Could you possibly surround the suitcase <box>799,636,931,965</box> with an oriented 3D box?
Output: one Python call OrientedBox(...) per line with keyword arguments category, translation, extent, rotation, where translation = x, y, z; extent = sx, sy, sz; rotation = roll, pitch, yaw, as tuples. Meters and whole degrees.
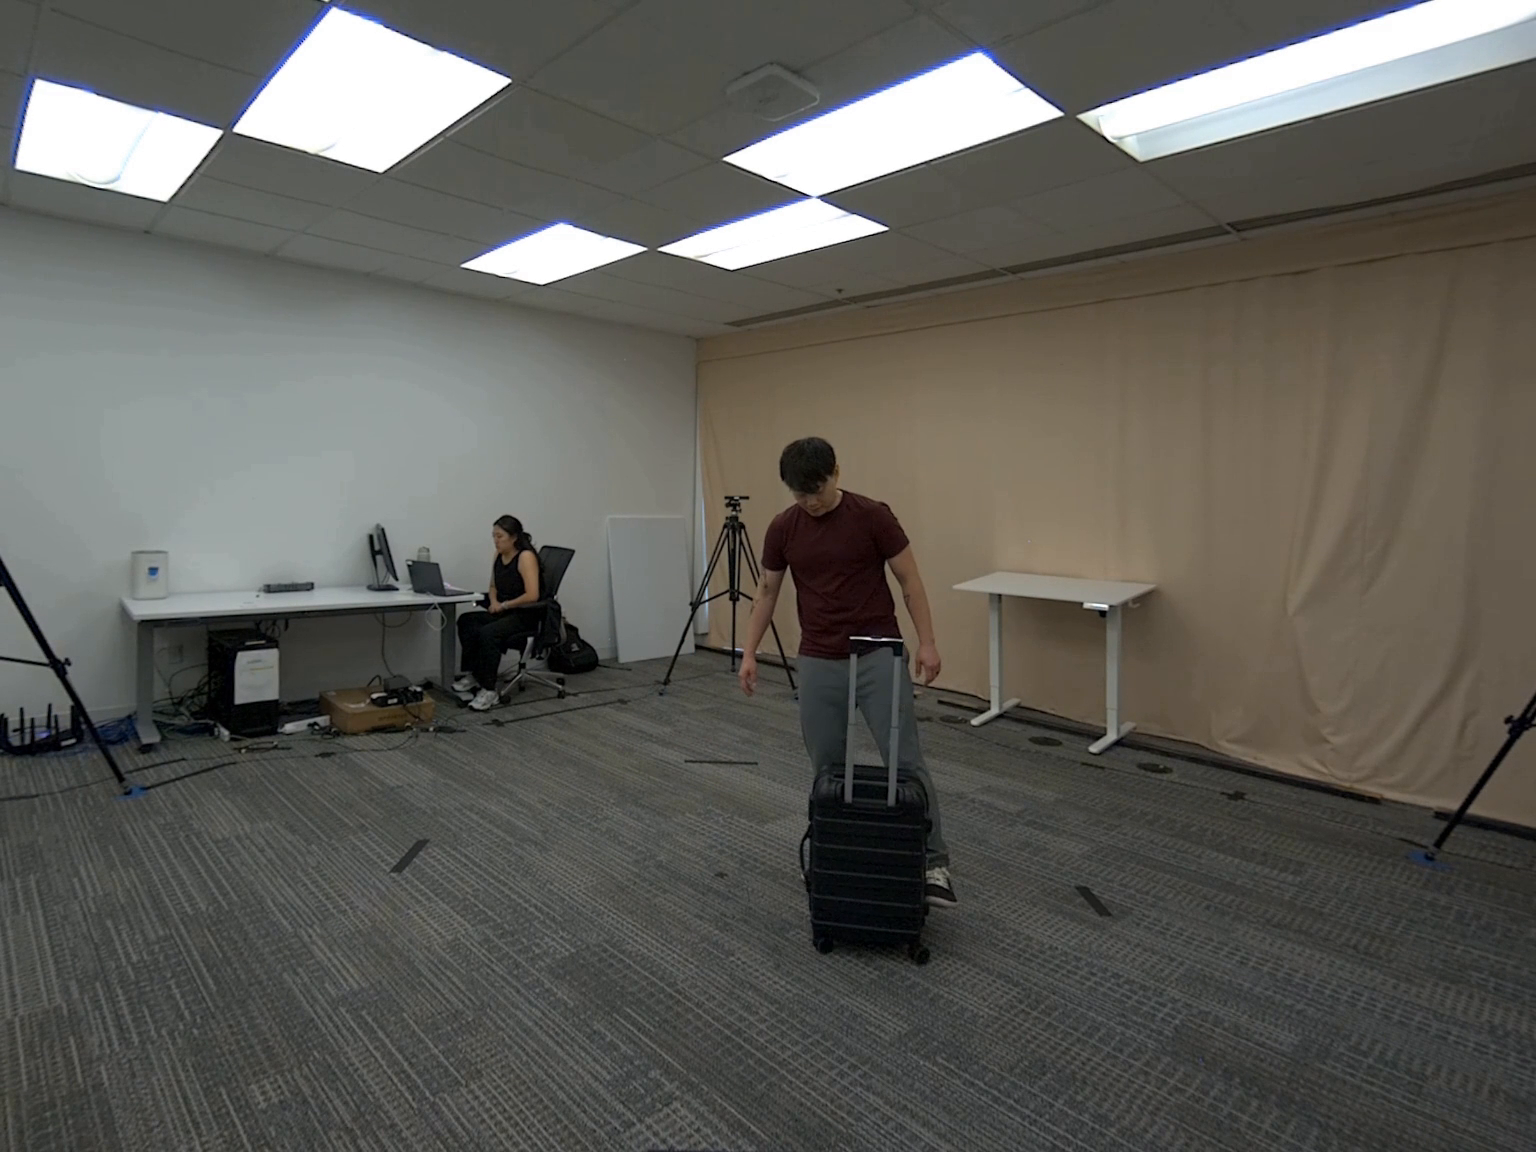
OrientedBox(category="suitcase", translation=(0.308, 0.681, 2.637), extent=(0.388, 0.974, 0.256), rotation=(3, 6, 11))
